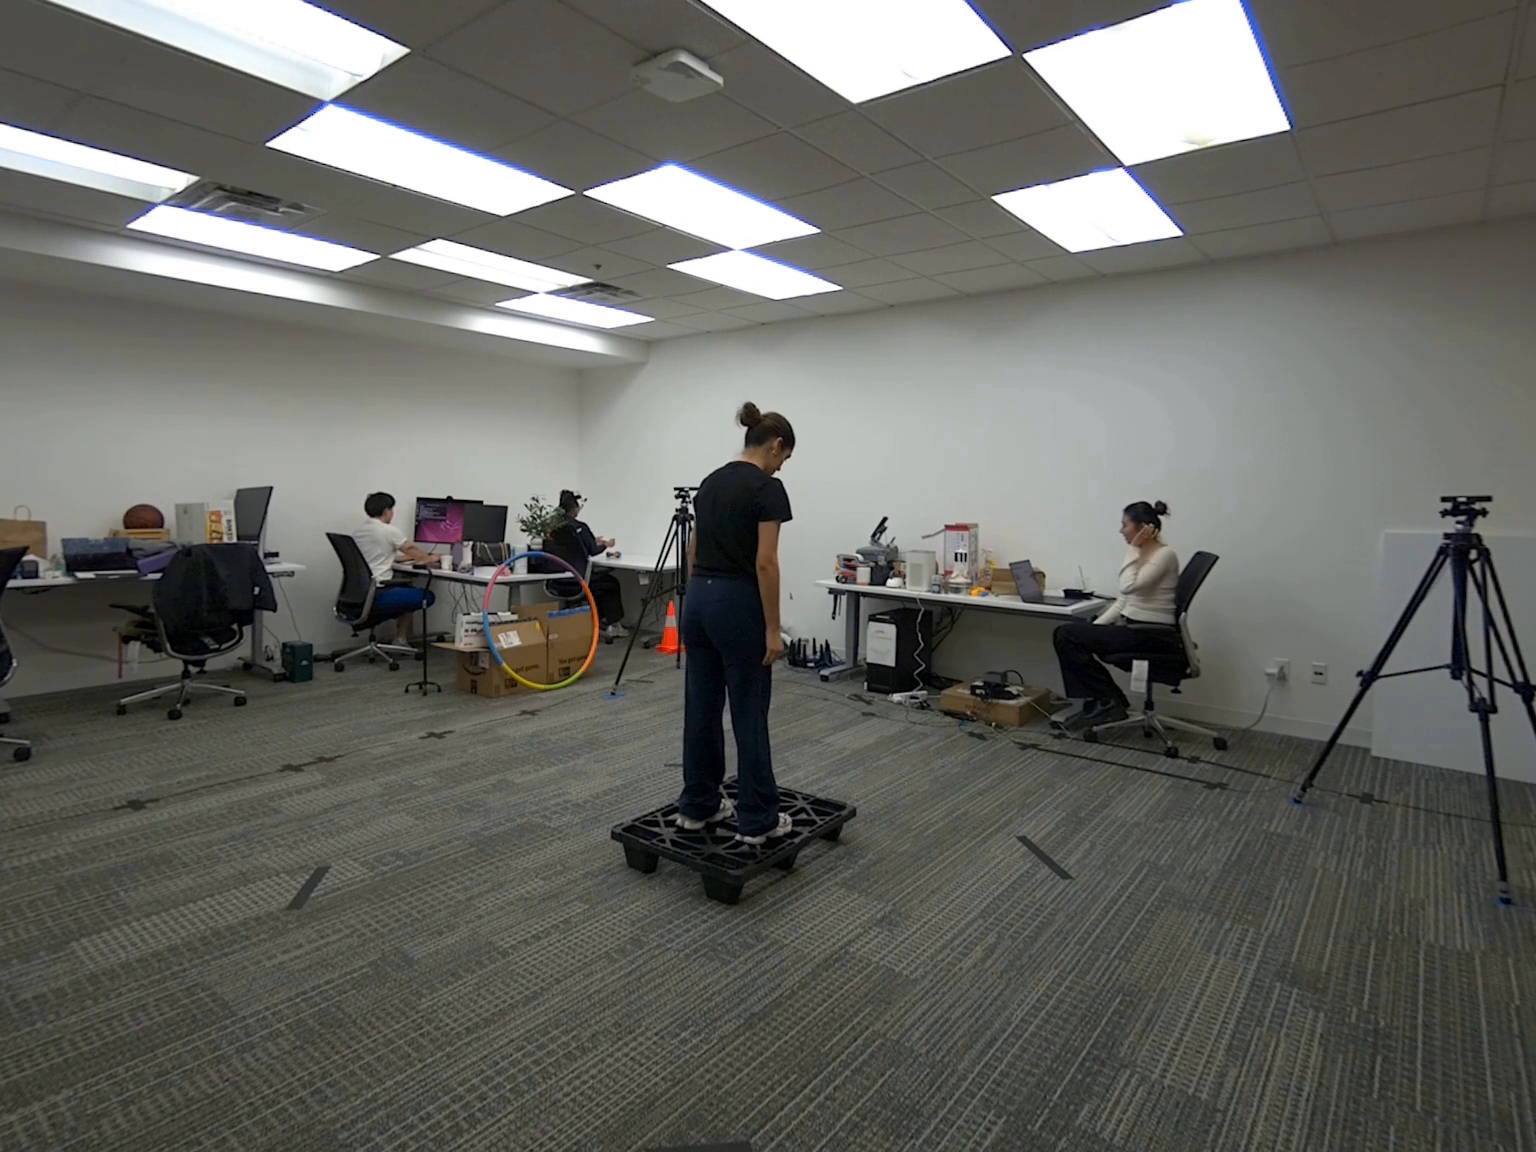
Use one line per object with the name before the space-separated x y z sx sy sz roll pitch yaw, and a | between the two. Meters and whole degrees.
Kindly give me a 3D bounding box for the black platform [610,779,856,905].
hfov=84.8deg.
black platform | -0.091 0.983 3.265 0.625 0.143 0.783 5 7 37
